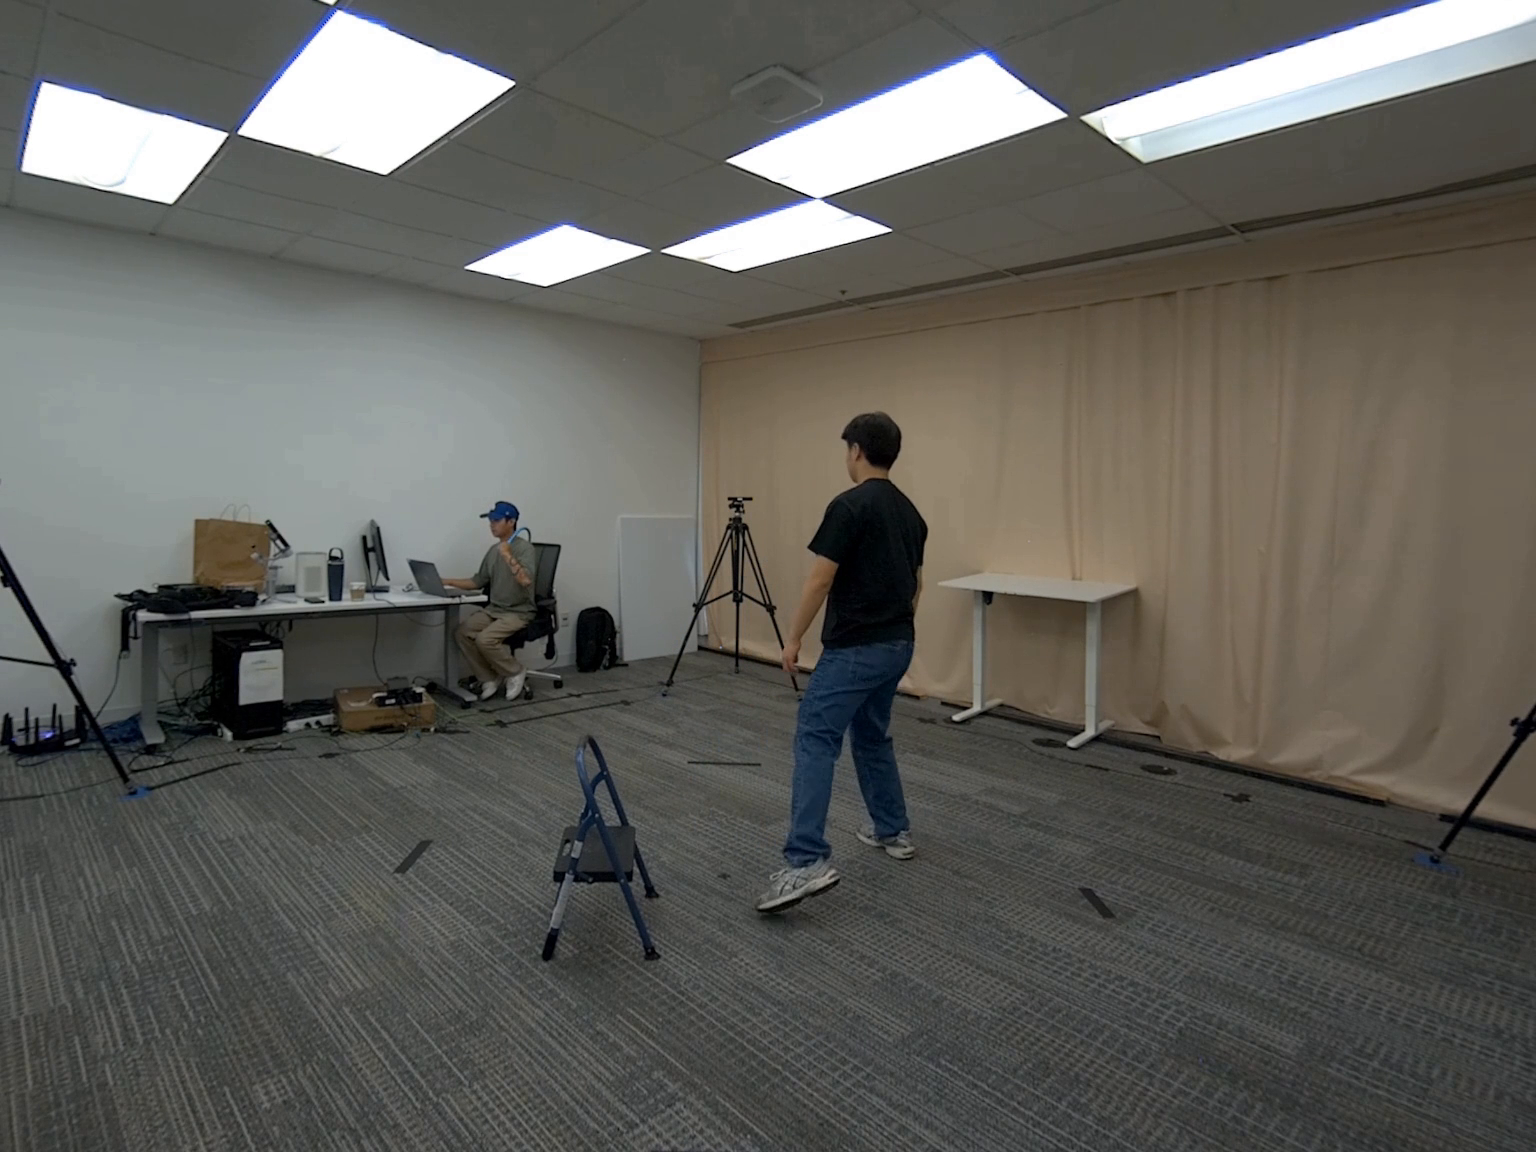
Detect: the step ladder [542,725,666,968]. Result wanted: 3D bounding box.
[{"bbox_3d":[-0.518,0.833,2.711,0.347,0.605,0.434,1,3,-8],"label":"step ladder"}]
